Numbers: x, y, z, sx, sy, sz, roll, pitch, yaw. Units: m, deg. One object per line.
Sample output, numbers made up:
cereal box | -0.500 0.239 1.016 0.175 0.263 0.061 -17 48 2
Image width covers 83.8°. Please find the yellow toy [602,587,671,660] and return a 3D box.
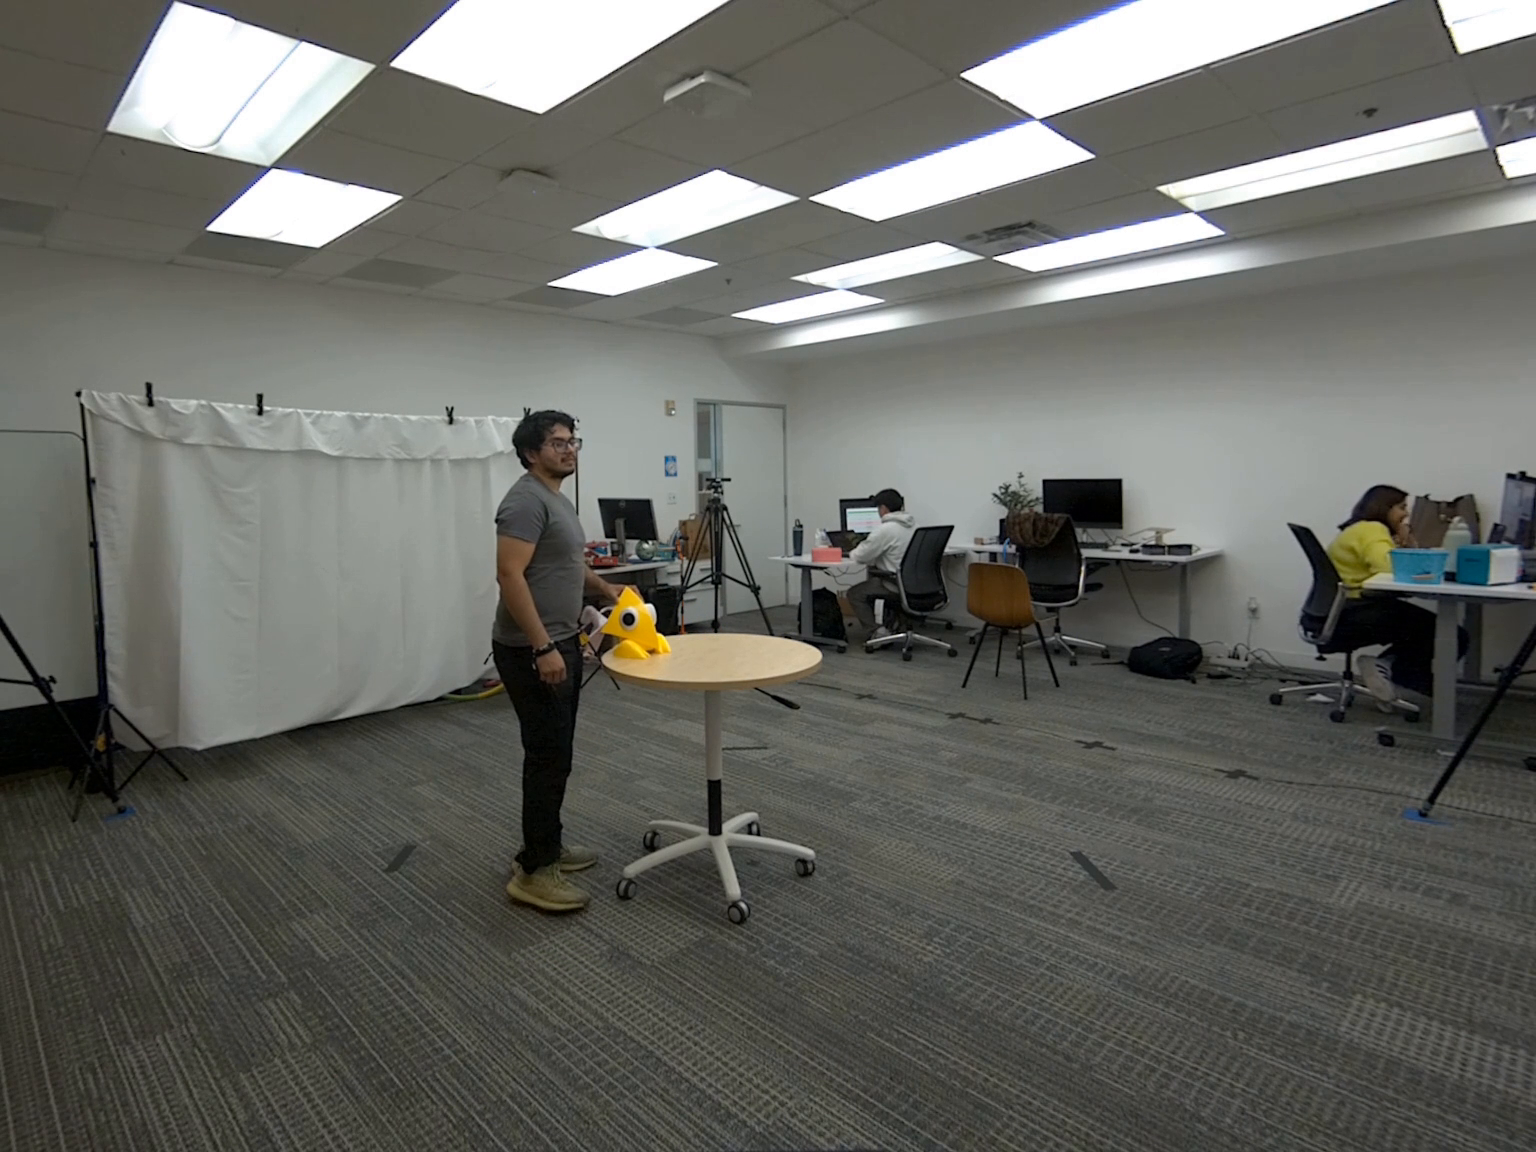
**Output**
yellow toy | -0.458 0.157 3.034 0.199 0.230 0.200 4 7 37
